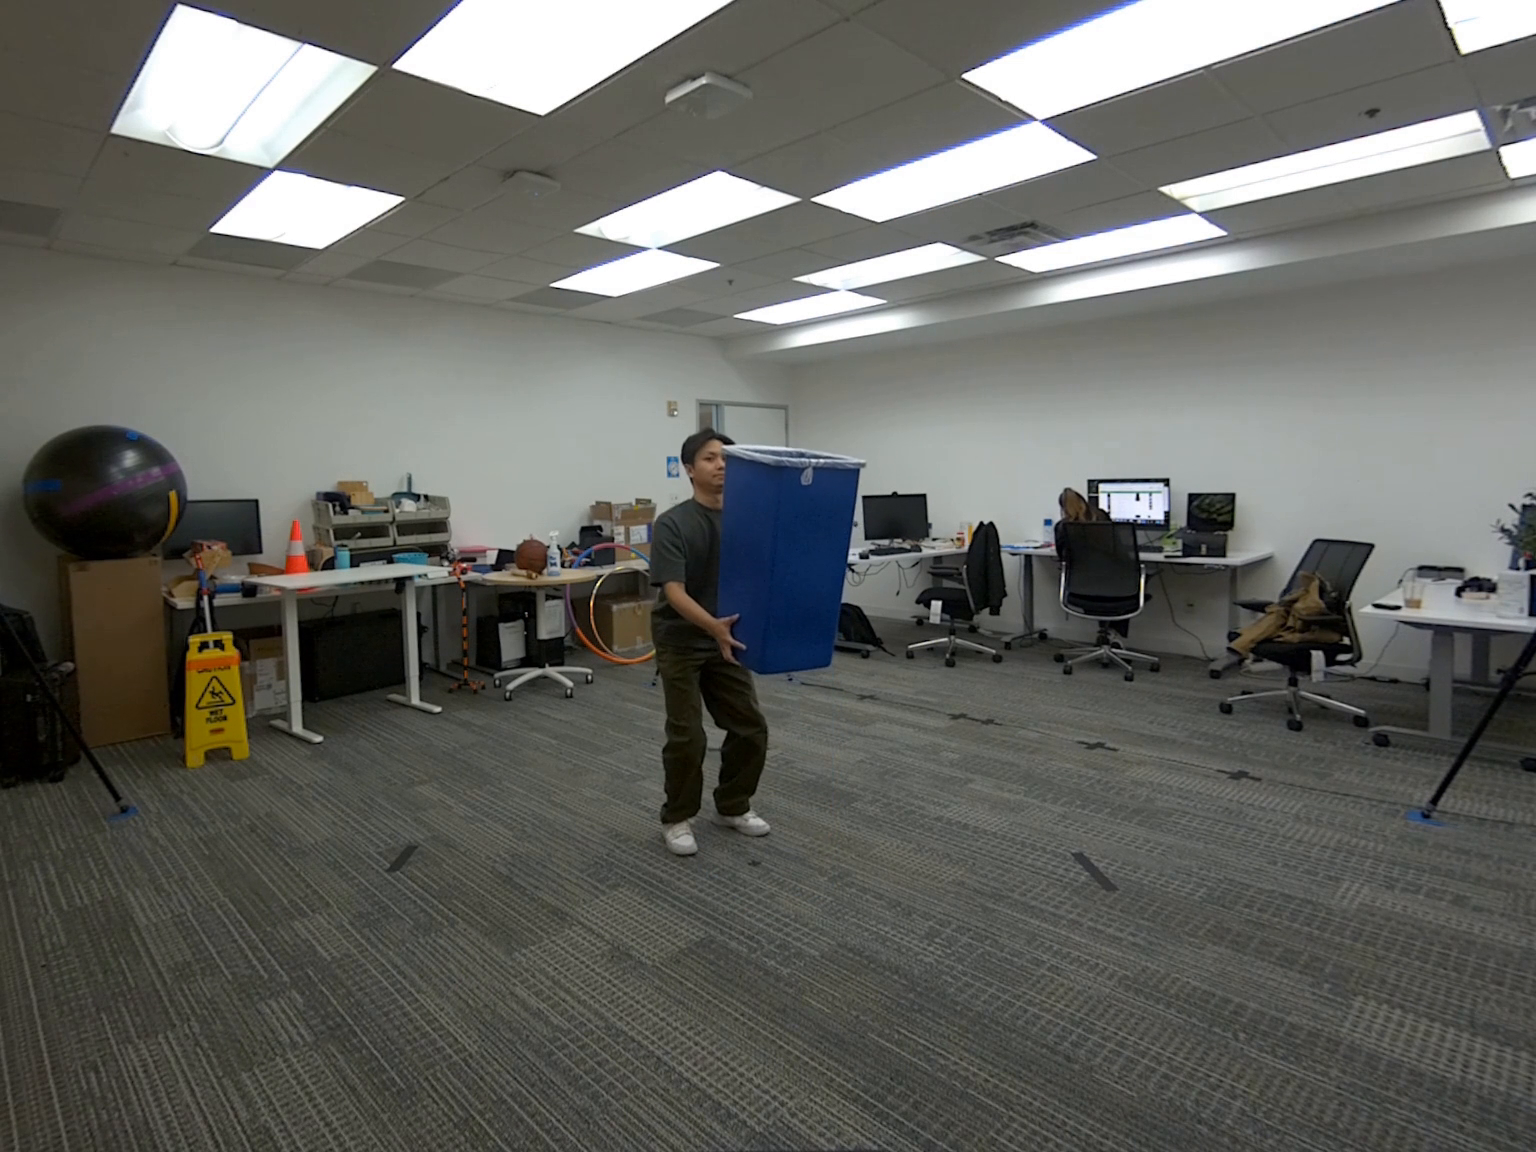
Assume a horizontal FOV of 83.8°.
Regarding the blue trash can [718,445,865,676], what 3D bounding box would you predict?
[{"bbox_3d":[0.054,-0.070,2.926,0.364,0.708,0.391,-1,12,-33],"label":"blue trash can"}]
